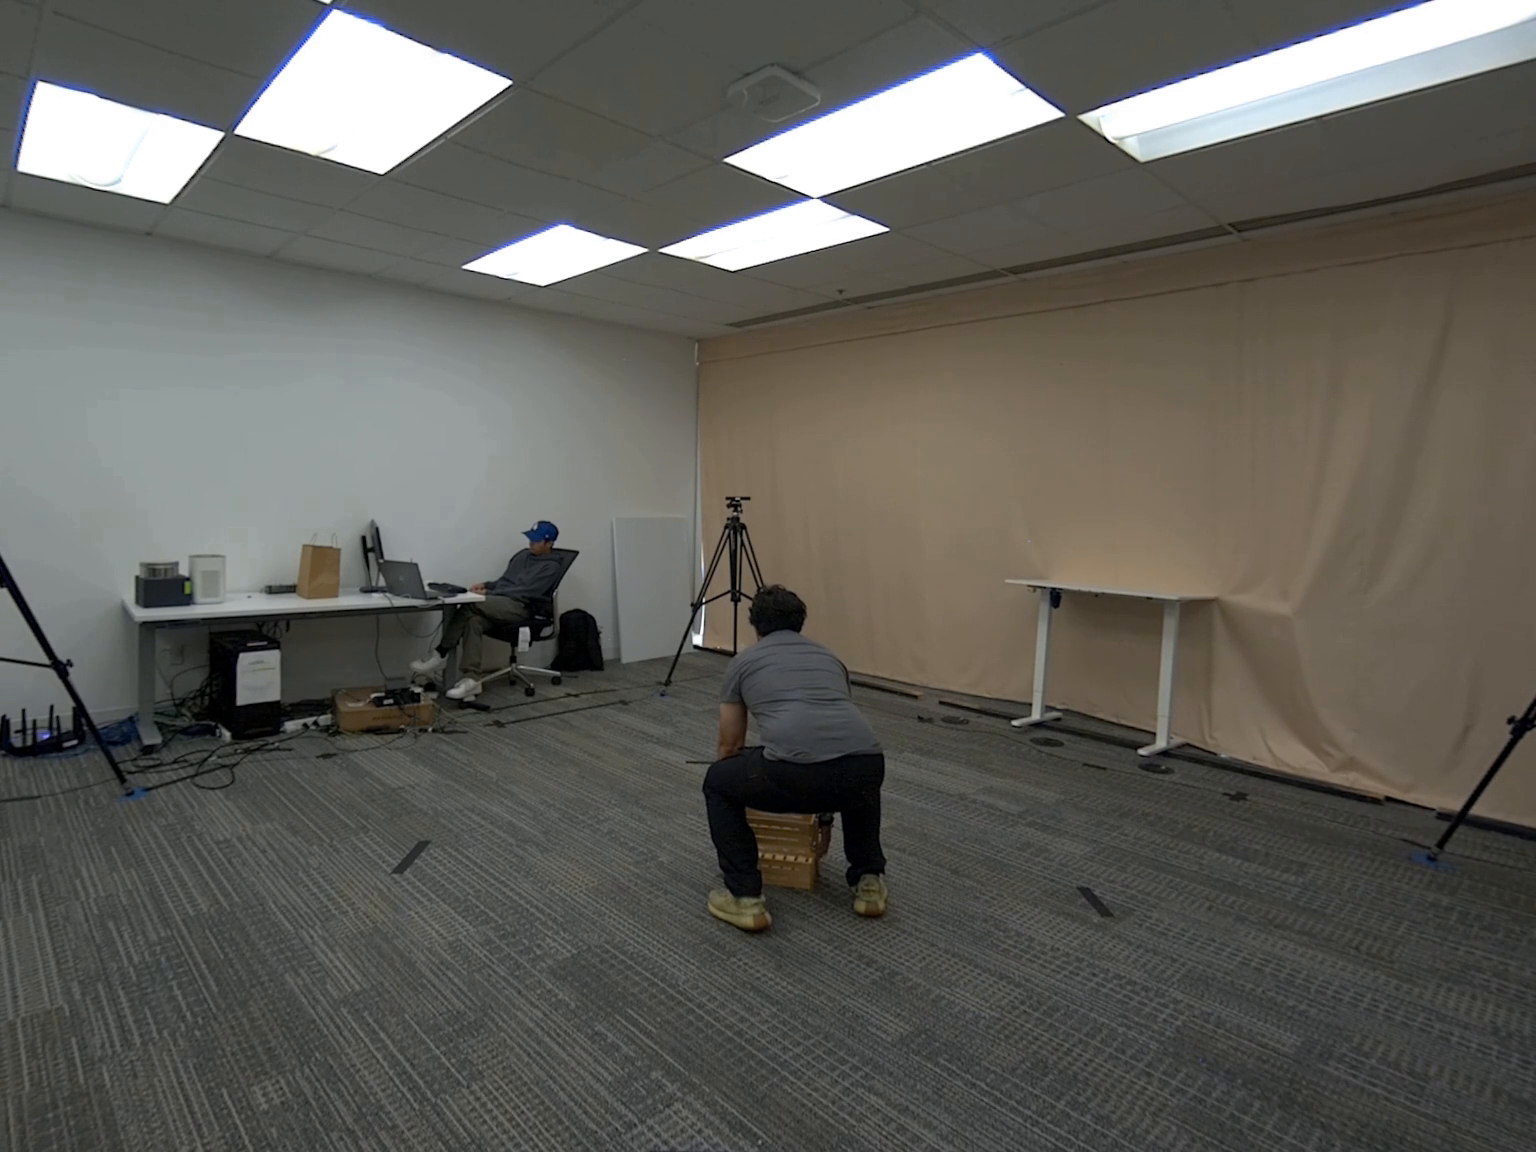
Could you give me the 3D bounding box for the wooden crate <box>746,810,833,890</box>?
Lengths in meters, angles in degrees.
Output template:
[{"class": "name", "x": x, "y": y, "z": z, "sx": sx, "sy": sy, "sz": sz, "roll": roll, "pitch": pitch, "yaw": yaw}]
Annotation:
[{"class": "wooden crate", "x": 0.038, "y": 0.980, "z": 3.138, "sx": 0.328, "sy": 0.273, "sz": 0.299, "roll": 2, "pitch": 4, "yaw": 13}]
